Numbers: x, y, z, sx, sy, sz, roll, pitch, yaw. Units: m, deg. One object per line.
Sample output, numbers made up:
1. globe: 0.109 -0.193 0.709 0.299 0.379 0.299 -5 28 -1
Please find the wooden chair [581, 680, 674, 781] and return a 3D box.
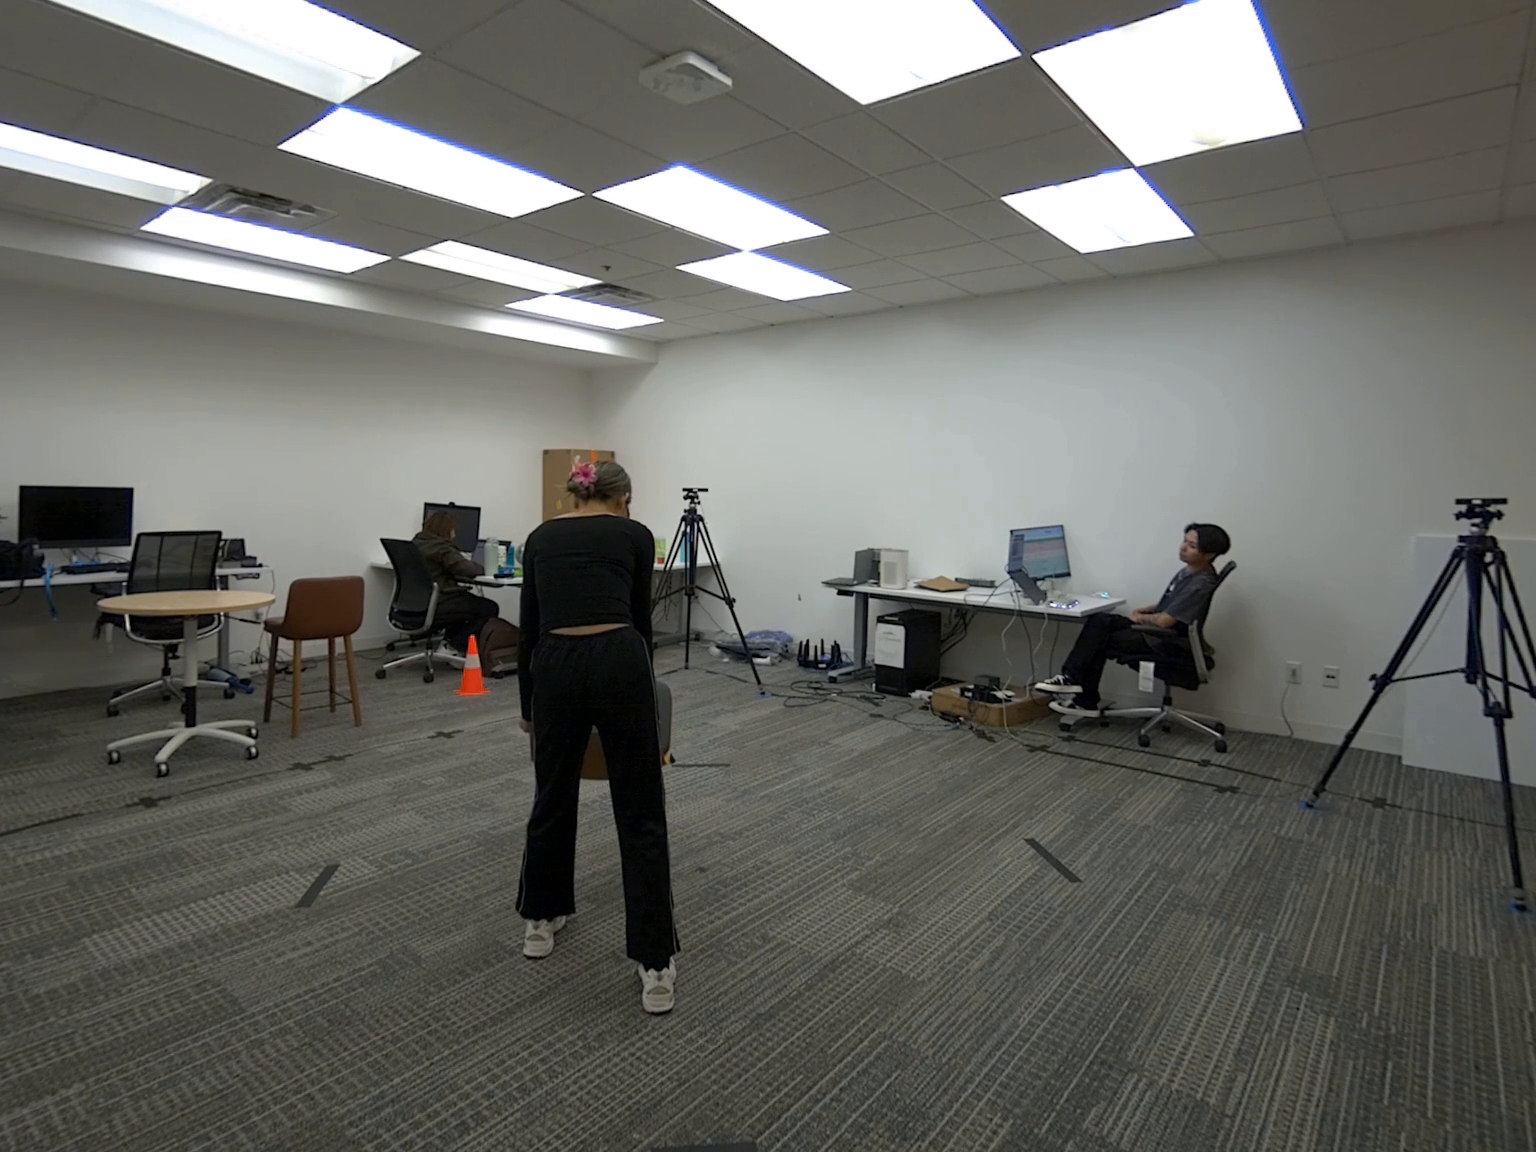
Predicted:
1. wooden chair: -0.593 0.580 3.064 0.478 0.853 0.538 2 45 -1
